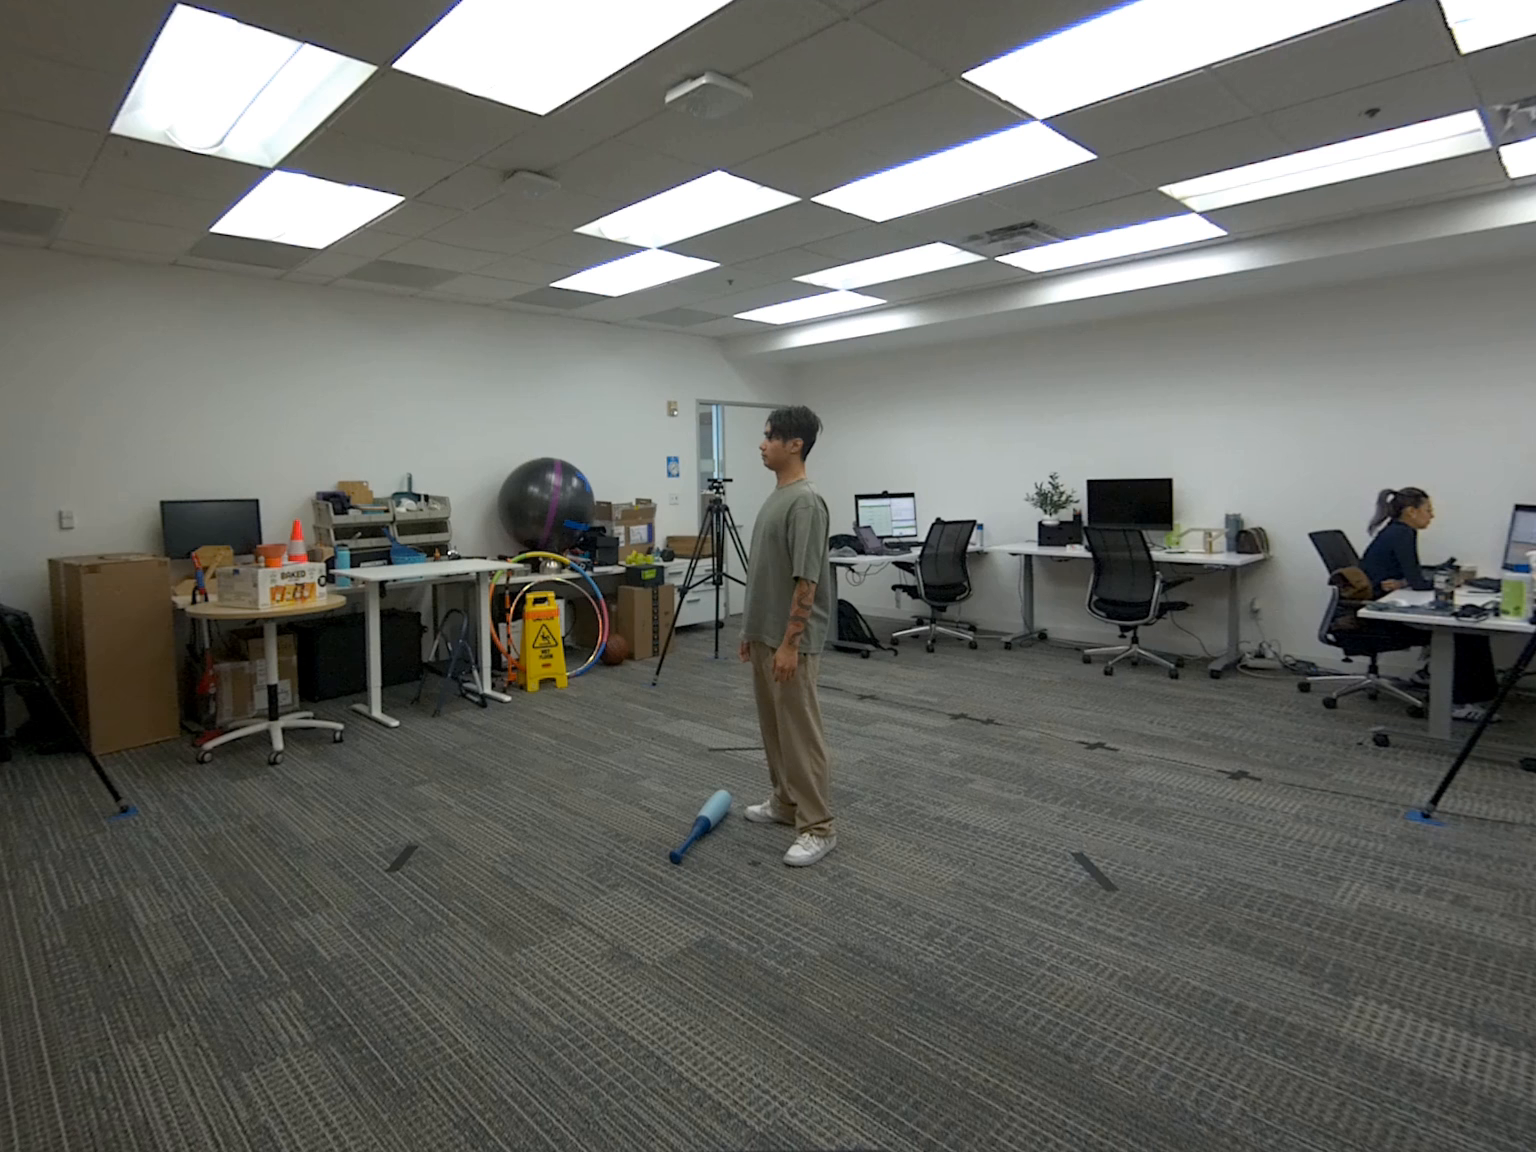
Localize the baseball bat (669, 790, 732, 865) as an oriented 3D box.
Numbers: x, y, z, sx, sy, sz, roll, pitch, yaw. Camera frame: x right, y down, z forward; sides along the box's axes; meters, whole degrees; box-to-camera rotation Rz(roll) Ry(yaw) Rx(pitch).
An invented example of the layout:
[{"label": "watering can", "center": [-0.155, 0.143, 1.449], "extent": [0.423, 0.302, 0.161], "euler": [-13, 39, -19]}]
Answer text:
[{"label": "baseball bat", "center": [-0.257, 0.978, 3.358], "extent": [0.090, 0.088, 0.537], "euler": [0, 9, 16]}]
